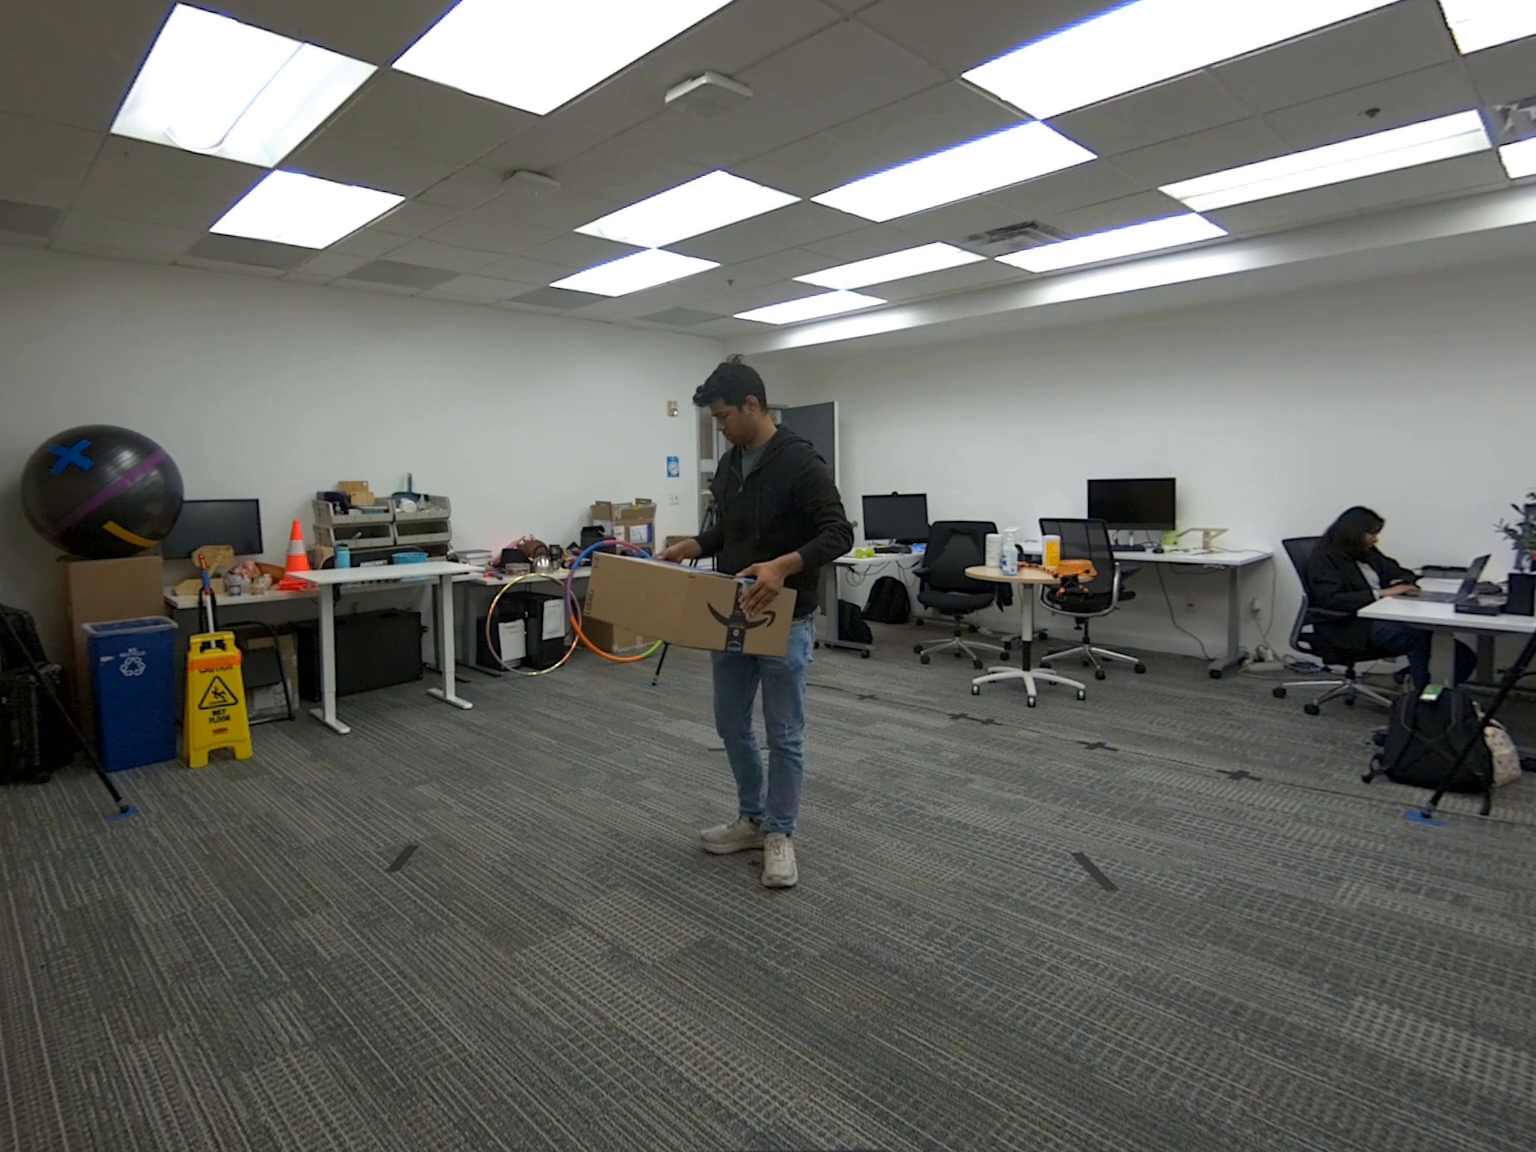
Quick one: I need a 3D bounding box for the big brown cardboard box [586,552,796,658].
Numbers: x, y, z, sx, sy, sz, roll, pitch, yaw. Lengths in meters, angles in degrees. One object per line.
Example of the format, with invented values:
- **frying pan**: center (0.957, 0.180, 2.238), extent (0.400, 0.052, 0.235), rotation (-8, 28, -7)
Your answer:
- **big brown cardboard box**: center (-0.269, 0.082, 2.769), extent (0.404, 0.233, 0.608), rotation (10, 2, -40)
